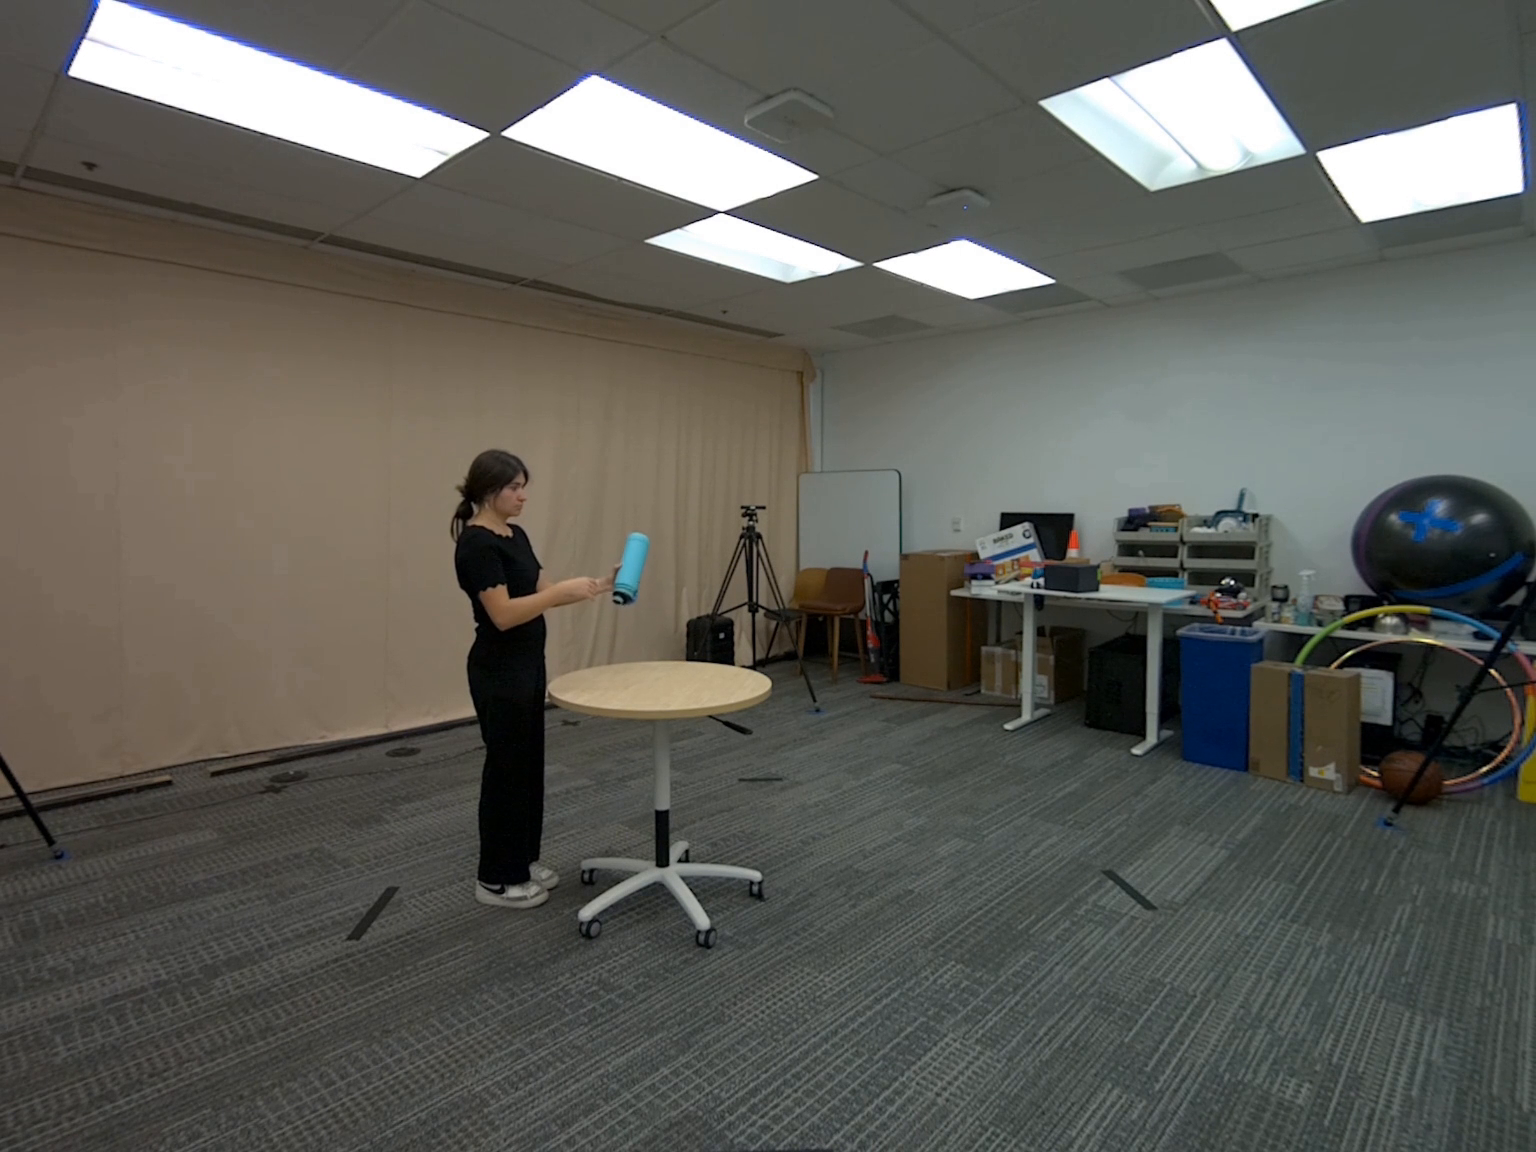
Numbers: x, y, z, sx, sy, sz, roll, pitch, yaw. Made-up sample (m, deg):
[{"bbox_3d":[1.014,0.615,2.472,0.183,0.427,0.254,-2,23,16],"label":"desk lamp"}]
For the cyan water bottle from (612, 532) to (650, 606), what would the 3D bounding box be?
[{"bbox_3d":[-0.521,-0.014,3.177,0.093,0.286,0.091,9,-28,3],"label":"cyan water bottle"}]
